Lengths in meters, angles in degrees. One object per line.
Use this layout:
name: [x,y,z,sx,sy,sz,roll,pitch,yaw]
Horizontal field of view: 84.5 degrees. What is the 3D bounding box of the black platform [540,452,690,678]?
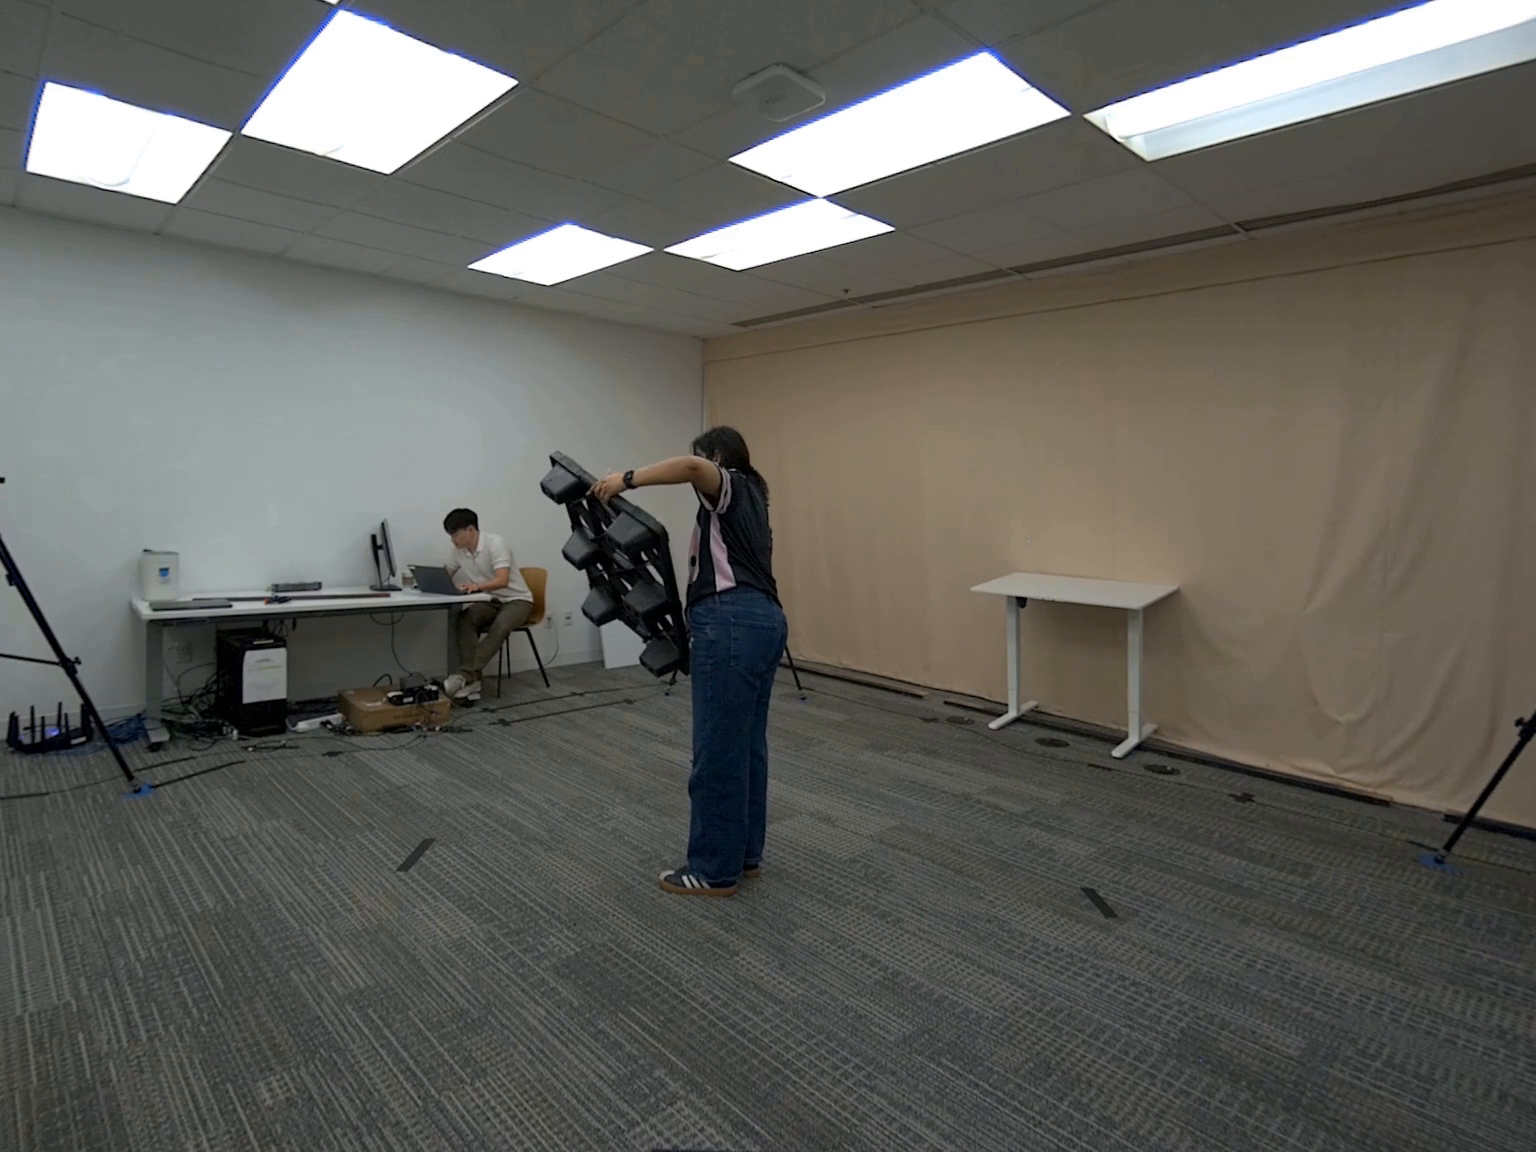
black platform: [-0.561,-0.005,3.099,0.623,0.786,0.143,34,57,31]
